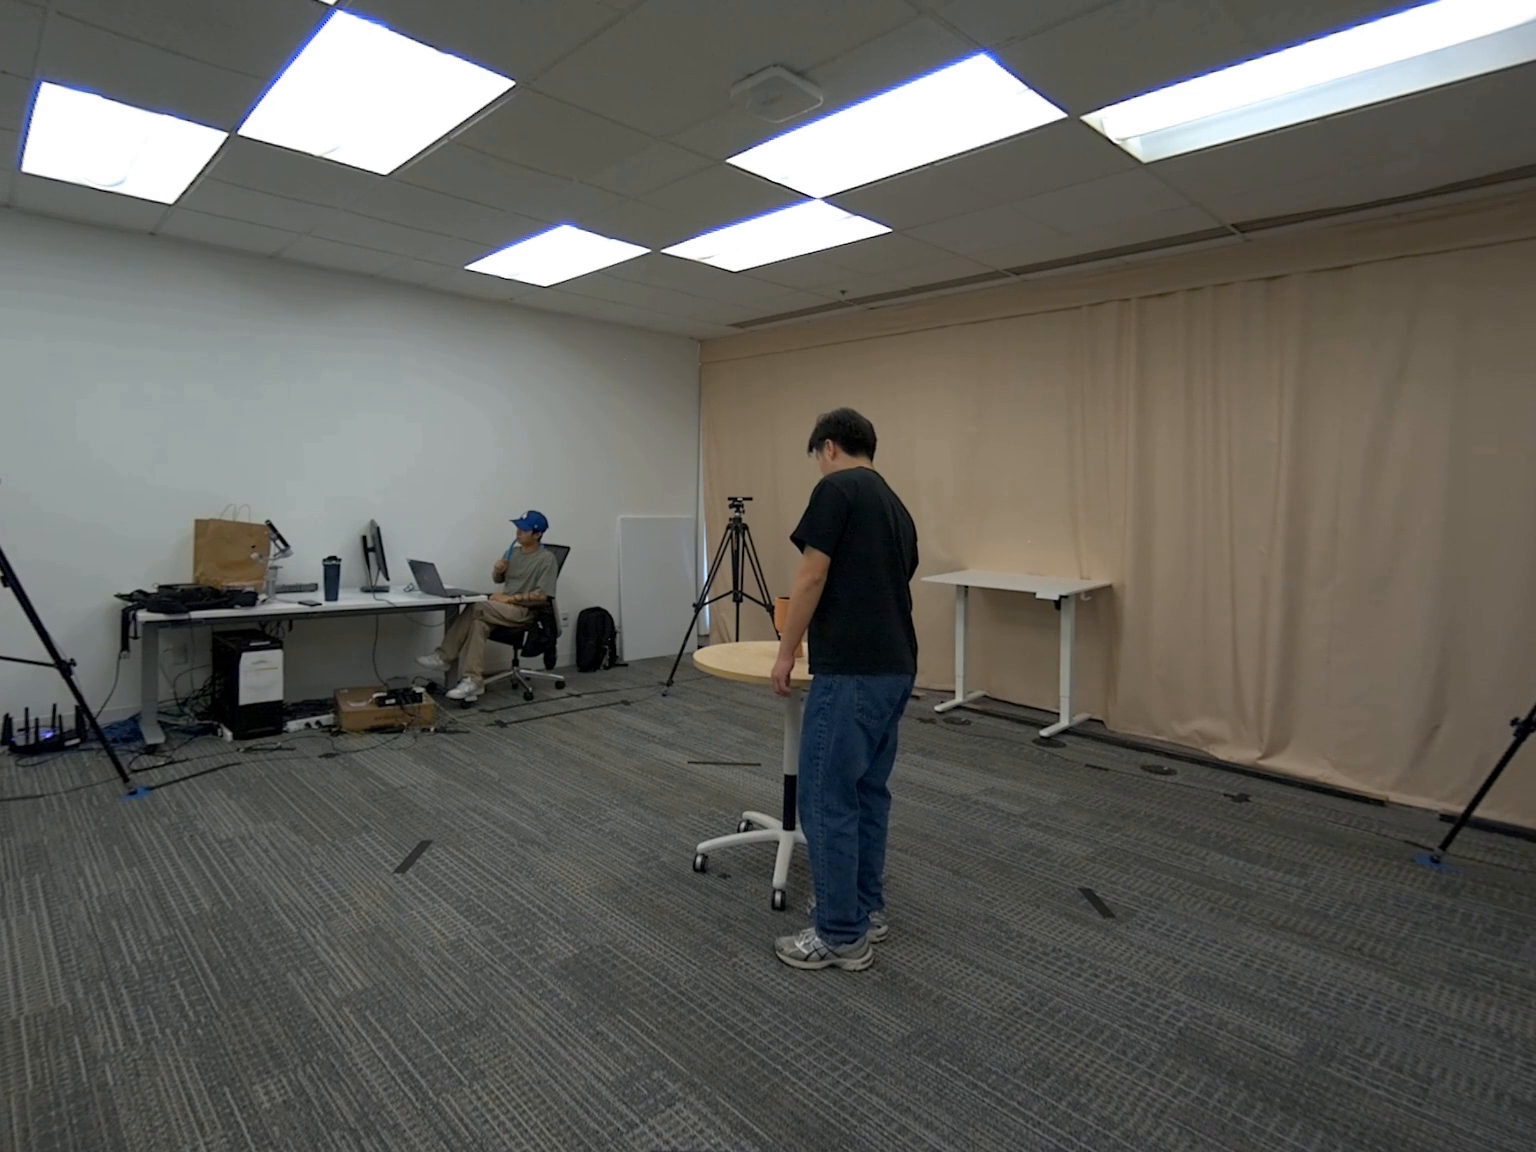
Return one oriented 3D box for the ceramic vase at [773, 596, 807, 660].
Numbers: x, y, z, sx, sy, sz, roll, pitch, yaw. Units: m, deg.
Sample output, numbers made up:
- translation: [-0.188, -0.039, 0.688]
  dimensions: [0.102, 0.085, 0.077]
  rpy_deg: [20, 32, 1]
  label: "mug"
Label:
- translation: [0.083, 0.198, 3.215]
  dimensions: [0.136, 0.219, 0.157]
  rpy_deg: [2, 2, 11]
  label: "ceramic vase"
